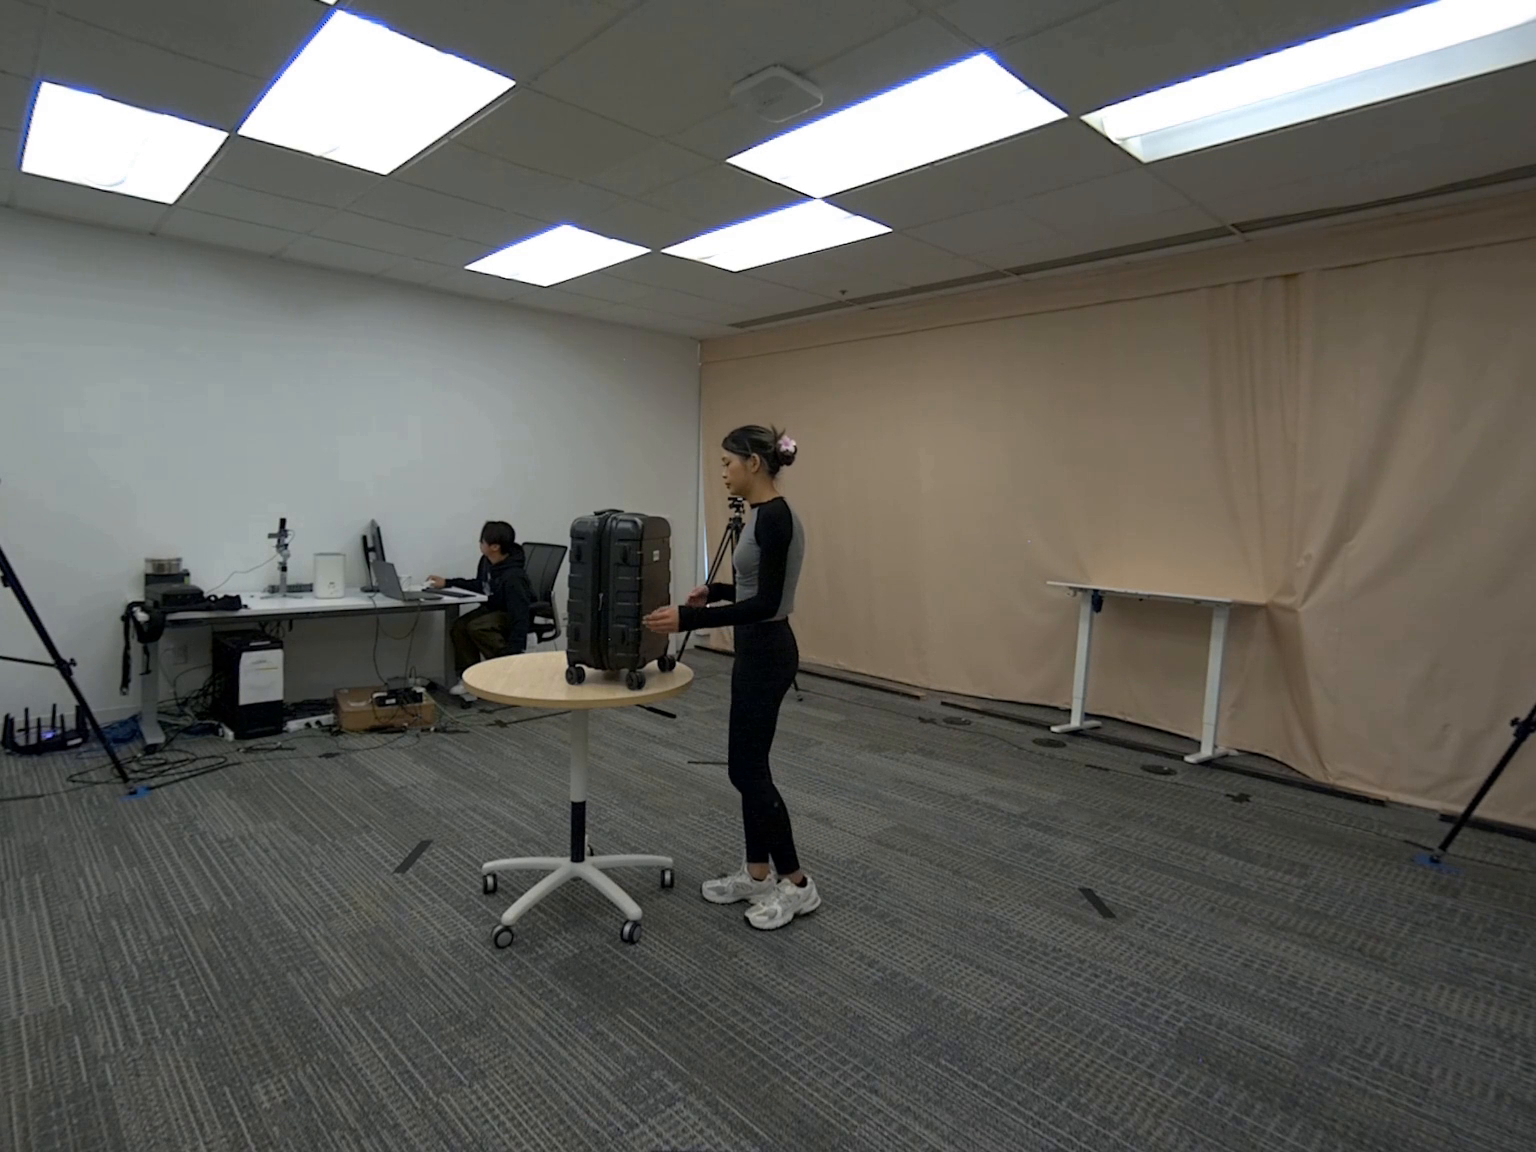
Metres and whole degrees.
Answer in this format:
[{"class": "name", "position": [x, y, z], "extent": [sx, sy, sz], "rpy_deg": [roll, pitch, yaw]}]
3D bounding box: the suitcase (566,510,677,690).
[{"class": "suitcase", "position": [-0.486, 0.058, 2.795], "extent": [0.251, 0.548, 0.371], "rpy_deg": [2, 3, 14]}]
